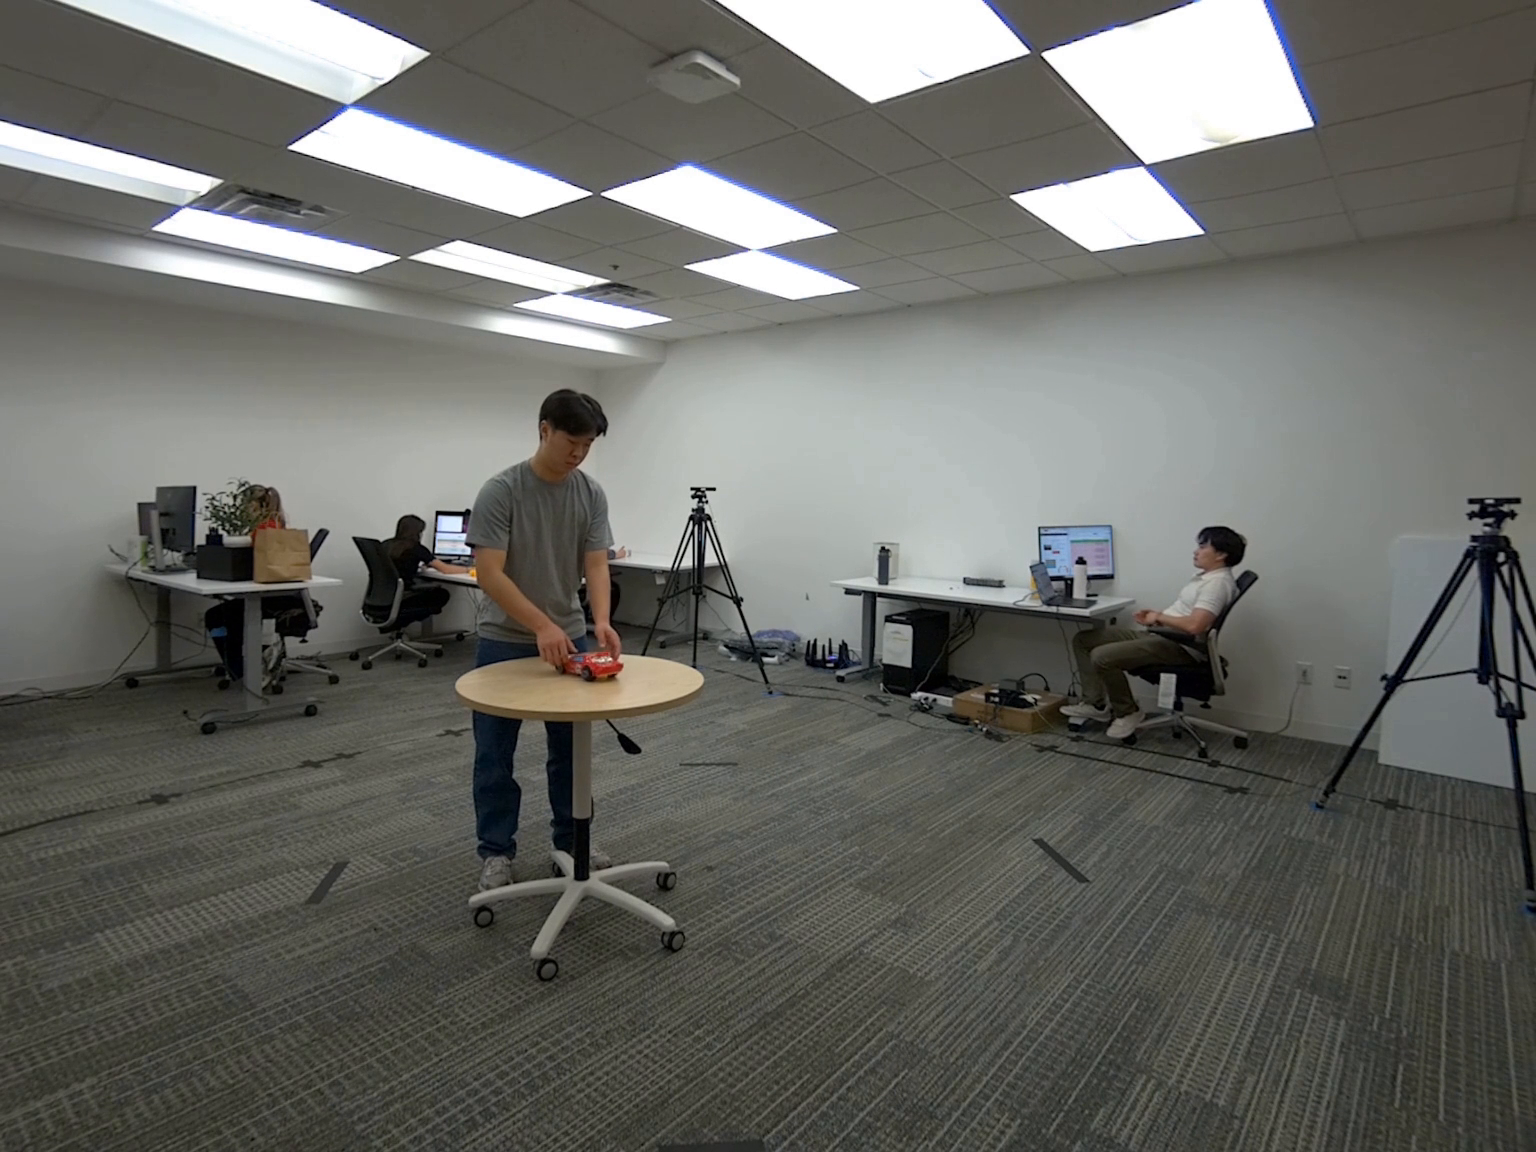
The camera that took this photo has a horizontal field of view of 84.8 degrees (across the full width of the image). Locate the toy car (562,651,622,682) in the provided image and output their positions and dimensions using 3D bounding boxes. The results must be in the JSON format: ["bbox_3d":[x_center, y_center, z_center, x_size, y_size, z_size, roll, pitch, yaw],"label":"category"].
[{"bbox_3d":[-0.580,0.287,2.699,0.261,0.083,0.126,-8,-3,43],"label":"toy car"}]
